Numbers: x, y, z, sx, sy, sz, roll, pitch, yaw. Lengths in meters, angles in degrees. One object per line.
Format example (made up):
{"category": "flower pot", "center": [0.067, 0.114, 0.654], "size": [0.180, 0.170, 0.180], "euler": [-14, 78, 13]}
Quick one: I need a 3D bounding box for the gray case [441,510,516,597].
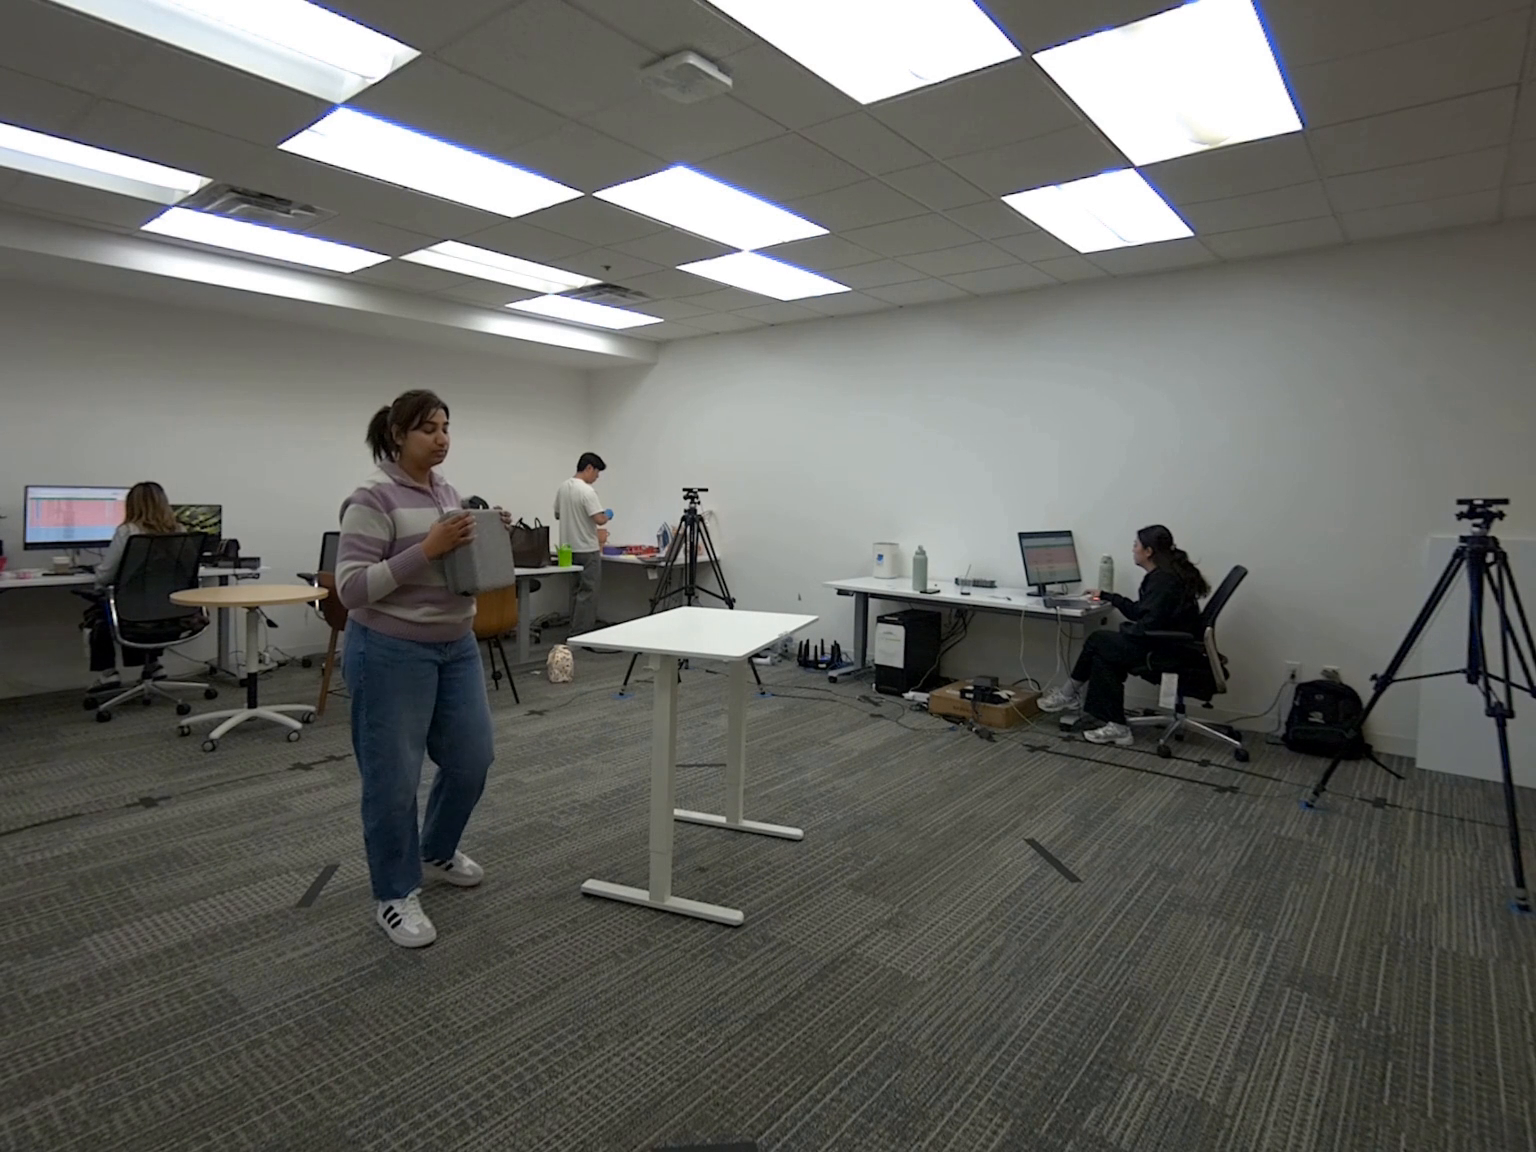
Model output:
{"category": "gray case", "center": [-0.900, -0.074, 2.608], "size": [0.105, 0.260, 0.255], "euler": [-10, 1, 10]}
